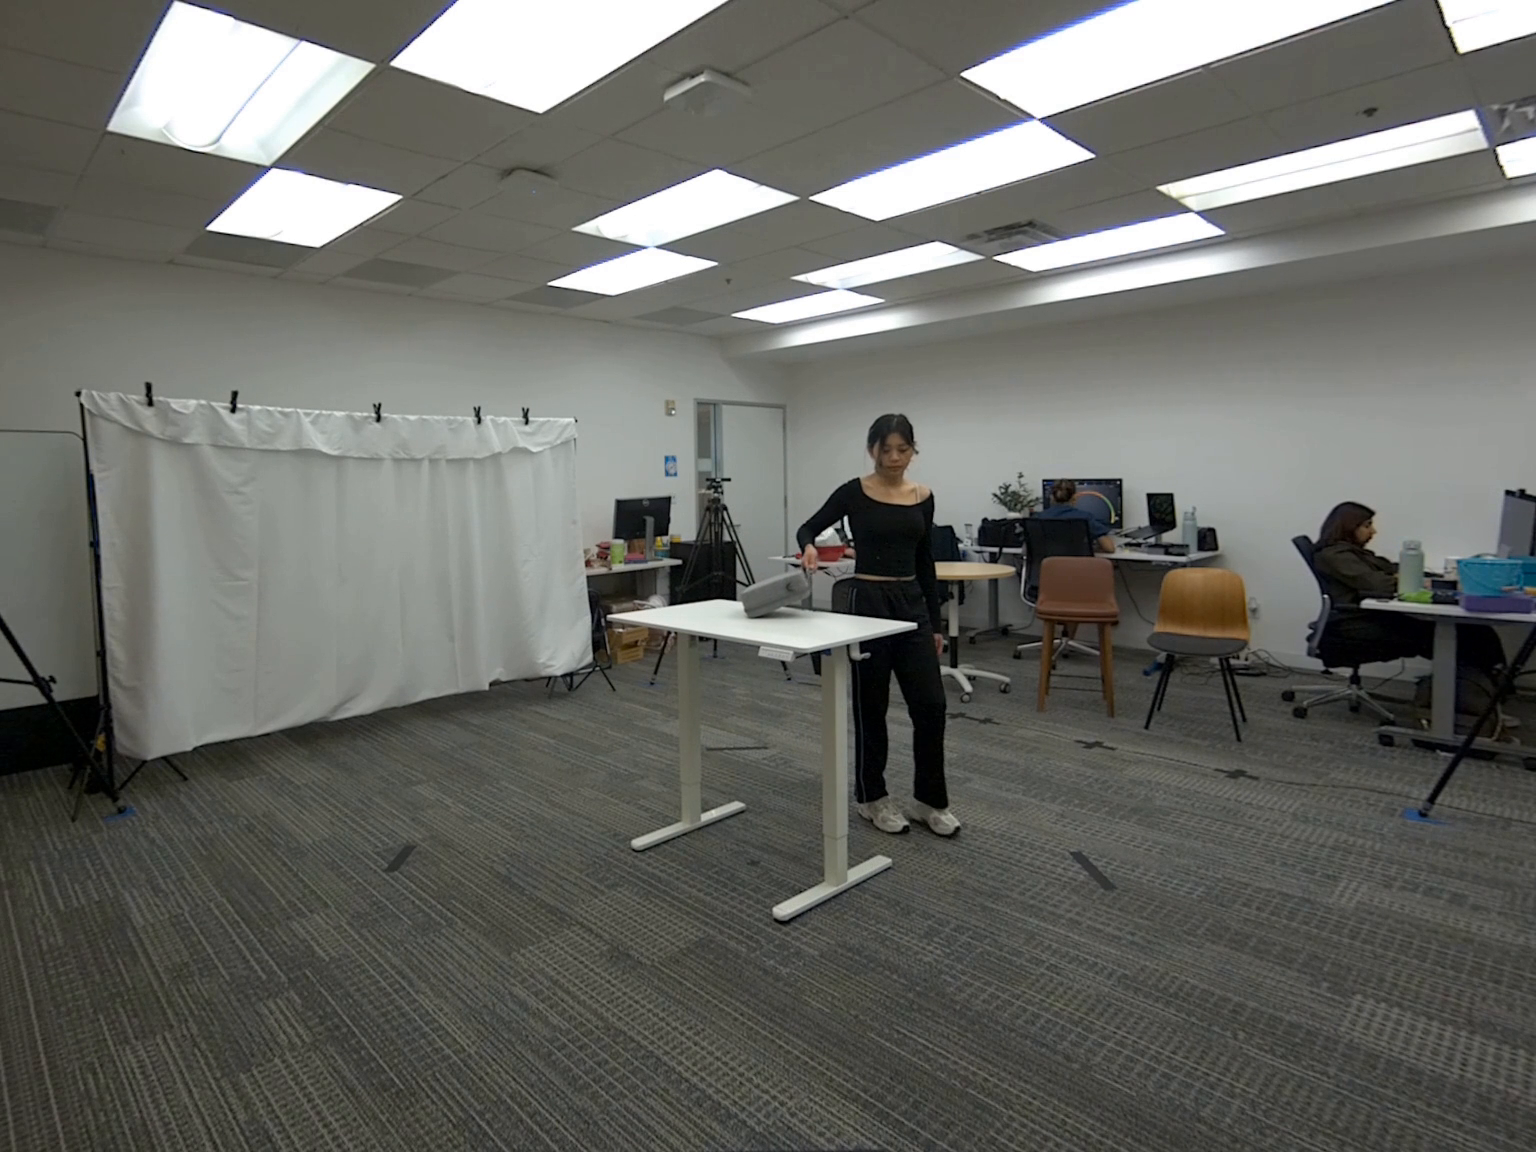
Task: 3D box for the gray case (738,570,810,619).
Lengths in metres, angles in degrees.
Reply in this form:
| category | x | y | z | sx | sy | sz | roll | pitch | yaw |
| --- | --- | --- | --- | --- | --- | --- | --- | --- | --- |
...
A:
| category | x | y | z | sx | sy | sz | roll | pitch | yaw |
| --- | --- | --- | --- | --- | --- | --- | --- | --- | --- |
| gray case | 0.040 | 0.057 | 3.216 | 0.262 | 0.104 | 0.256 | -22 | 2 | 8 |
